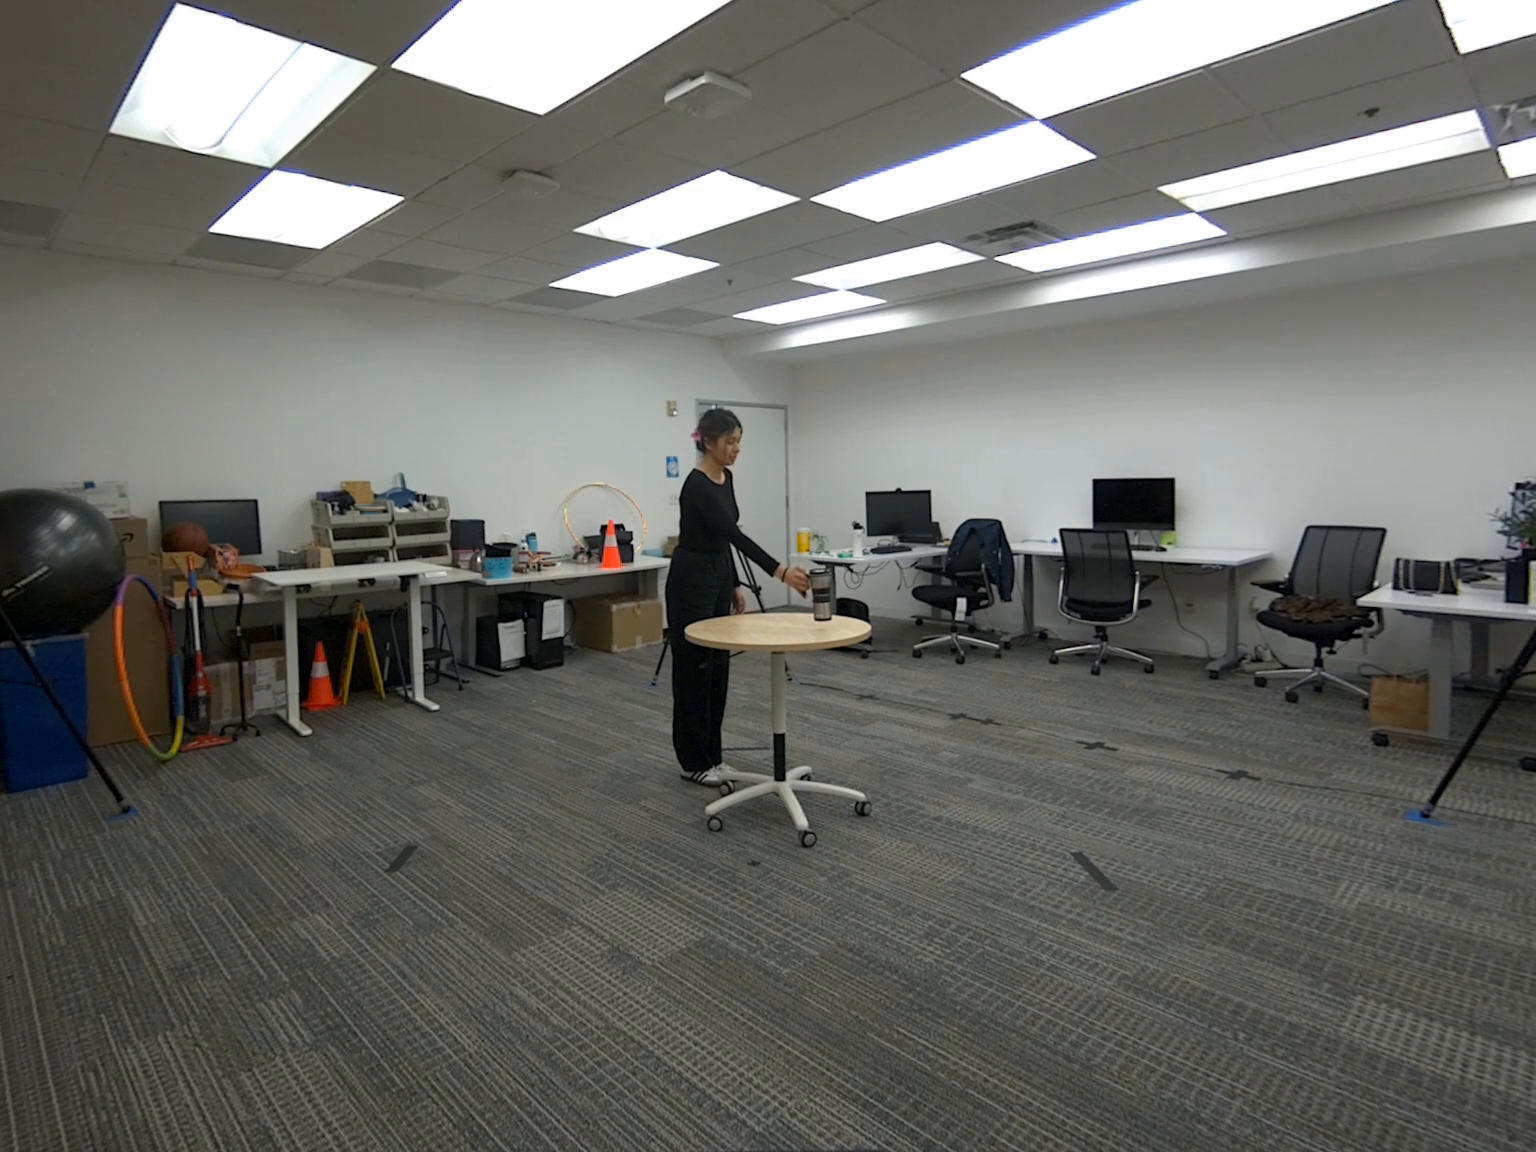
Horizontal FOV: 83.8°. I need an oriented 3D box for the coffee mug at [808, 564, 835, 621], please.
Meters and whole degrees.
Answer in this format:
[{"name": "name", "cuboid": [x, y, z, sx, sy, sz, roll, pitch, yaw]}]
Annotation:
[{"name": "coffee mug", "cuboid": [0.197, 0.076, 3.430, 0.086, 0.202, 0.125, -10, 7, -30]}]
